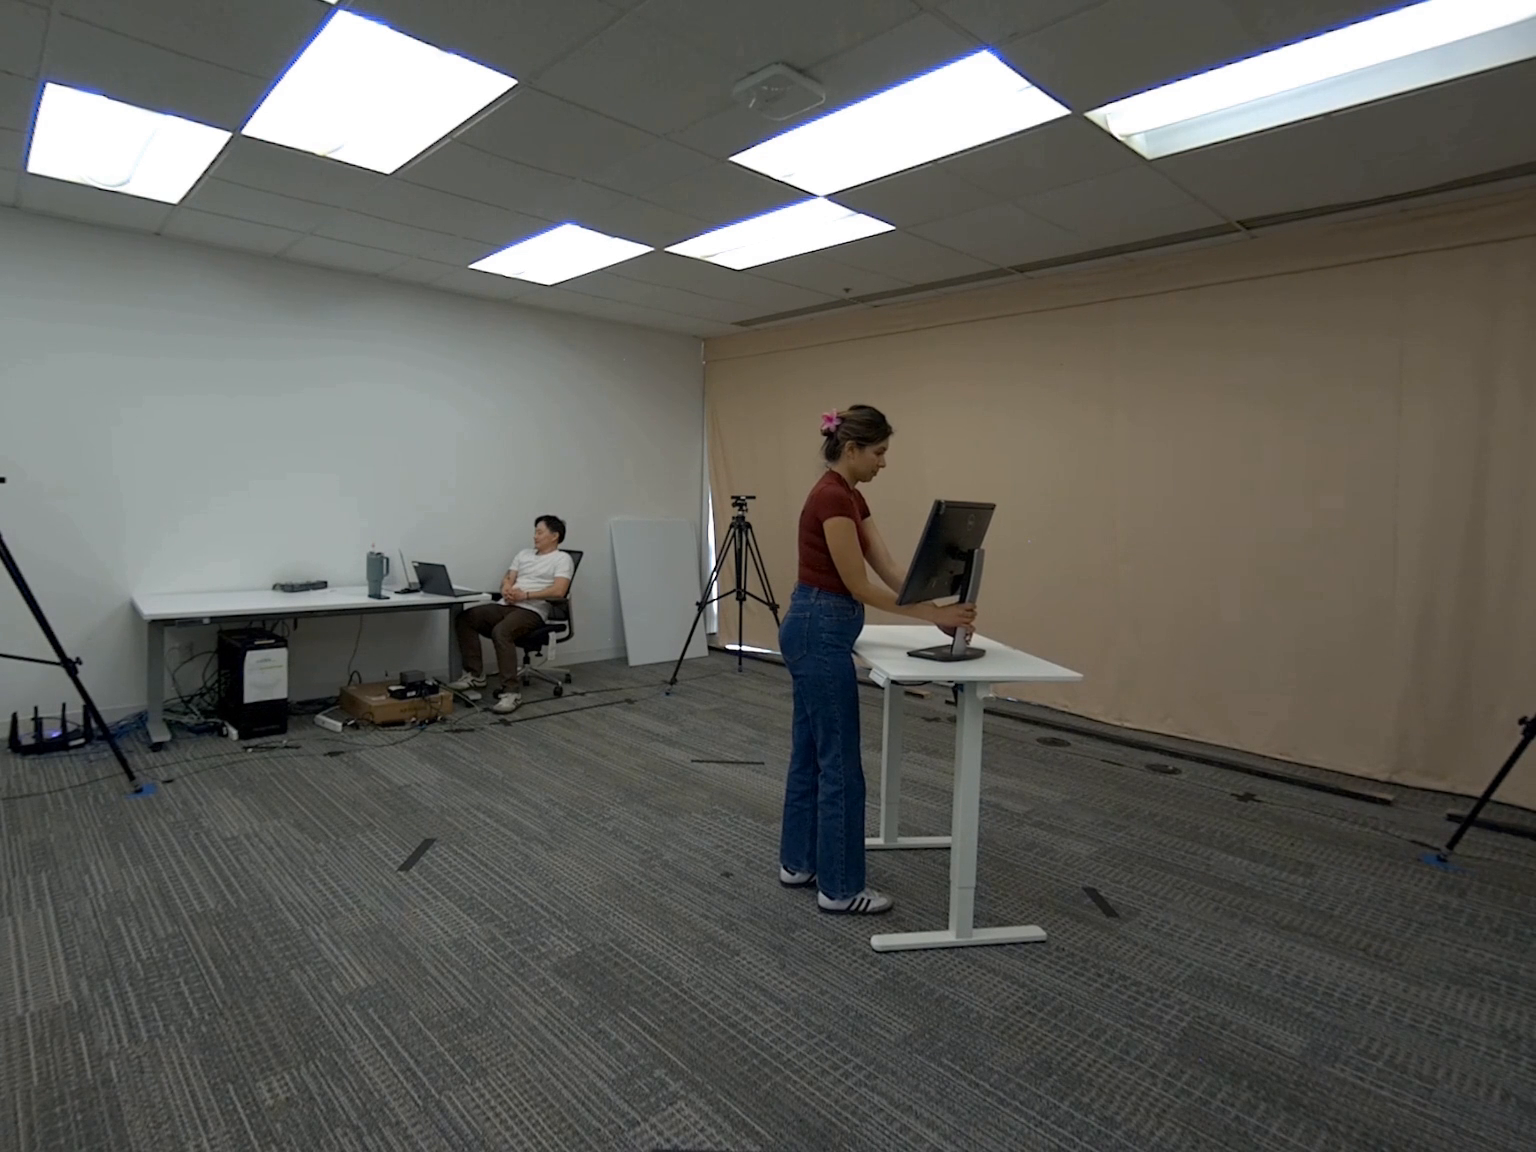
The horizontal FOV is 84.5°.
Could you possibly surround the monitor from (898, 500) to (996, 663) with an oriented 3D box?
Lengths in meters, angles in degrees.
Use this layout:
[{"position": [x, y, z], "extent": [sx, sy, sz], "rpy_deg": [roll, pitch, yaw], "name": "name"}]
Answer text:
[{"position": [0.620, 0.012, 2.781], "extent": [0.191, 0.521, 0.528], "rpy_deg": [8, 6, 31], "name": "monitor"}]
